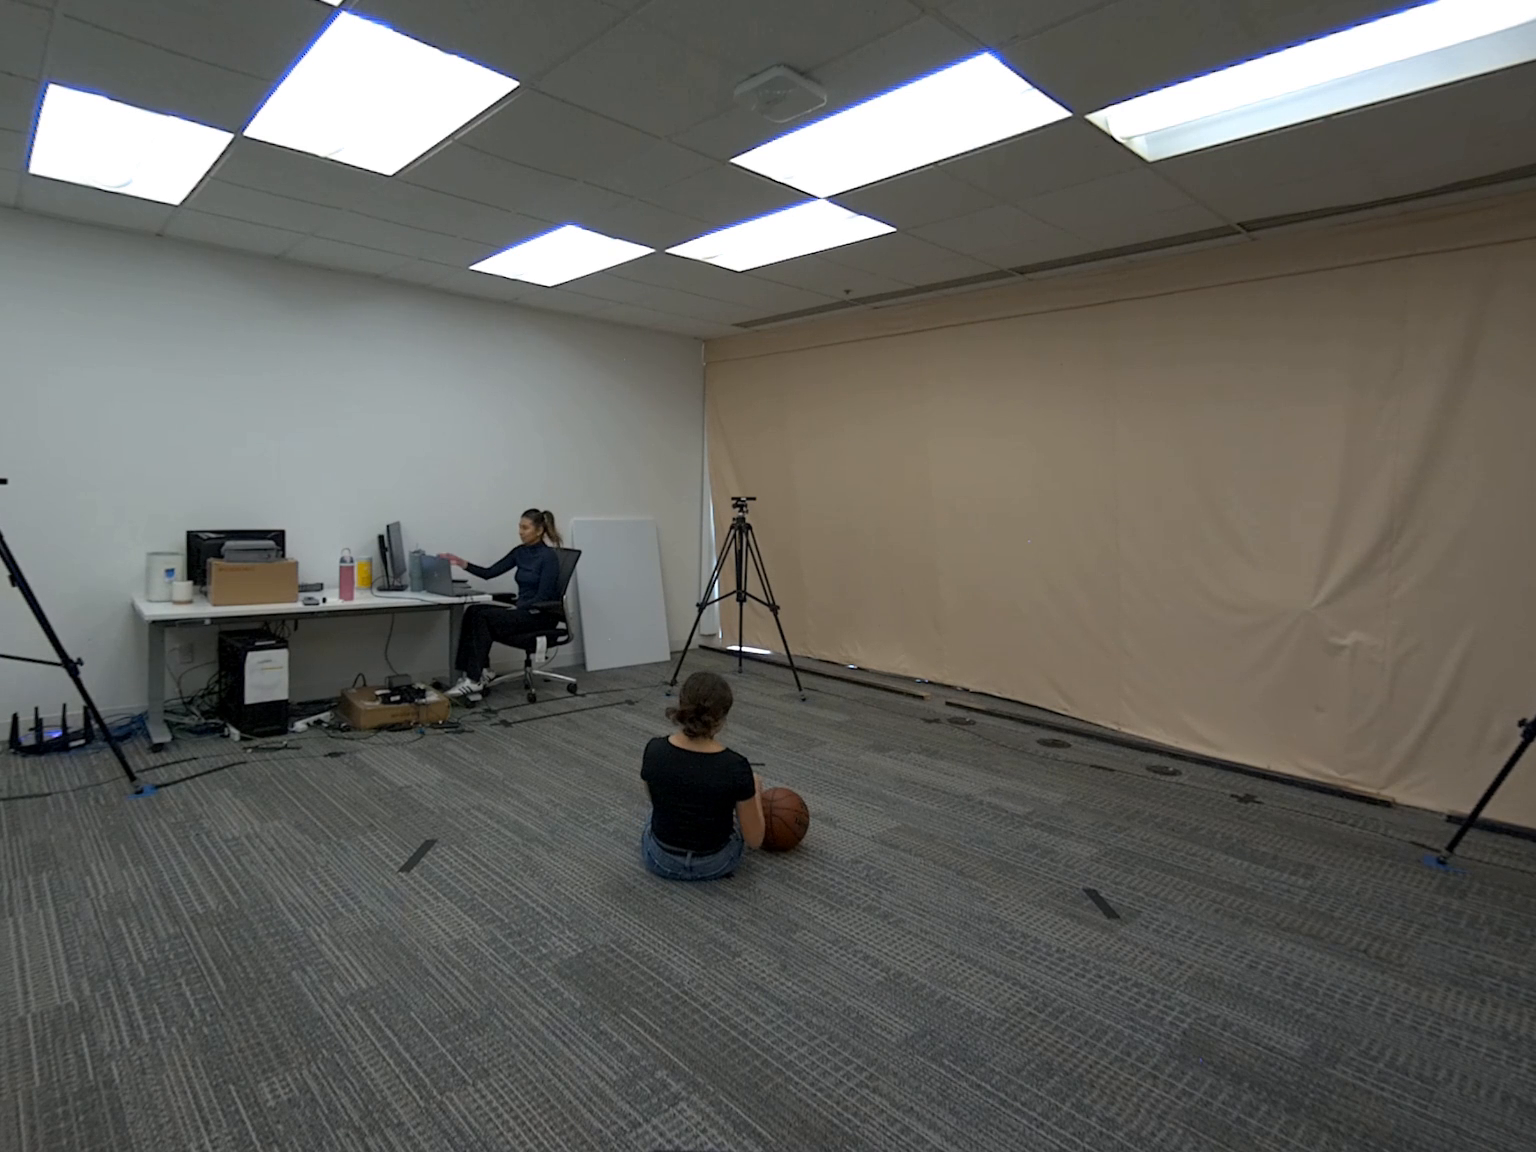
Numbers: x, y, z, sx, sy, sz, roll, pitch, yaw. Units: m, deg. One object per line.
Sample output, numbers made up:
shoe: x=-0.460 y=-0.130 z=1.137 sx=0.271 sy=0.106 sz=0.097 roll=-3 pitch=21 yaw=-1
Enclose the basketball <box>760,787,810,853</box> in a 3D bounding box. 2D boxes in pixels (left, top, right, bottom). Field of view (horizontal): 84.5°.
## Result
basketball: x=0.039 y=0.964 z=3.368 sx=0.236 sy=0.235 sz=0.237 roll=1 pitch=4 yaw=-1
